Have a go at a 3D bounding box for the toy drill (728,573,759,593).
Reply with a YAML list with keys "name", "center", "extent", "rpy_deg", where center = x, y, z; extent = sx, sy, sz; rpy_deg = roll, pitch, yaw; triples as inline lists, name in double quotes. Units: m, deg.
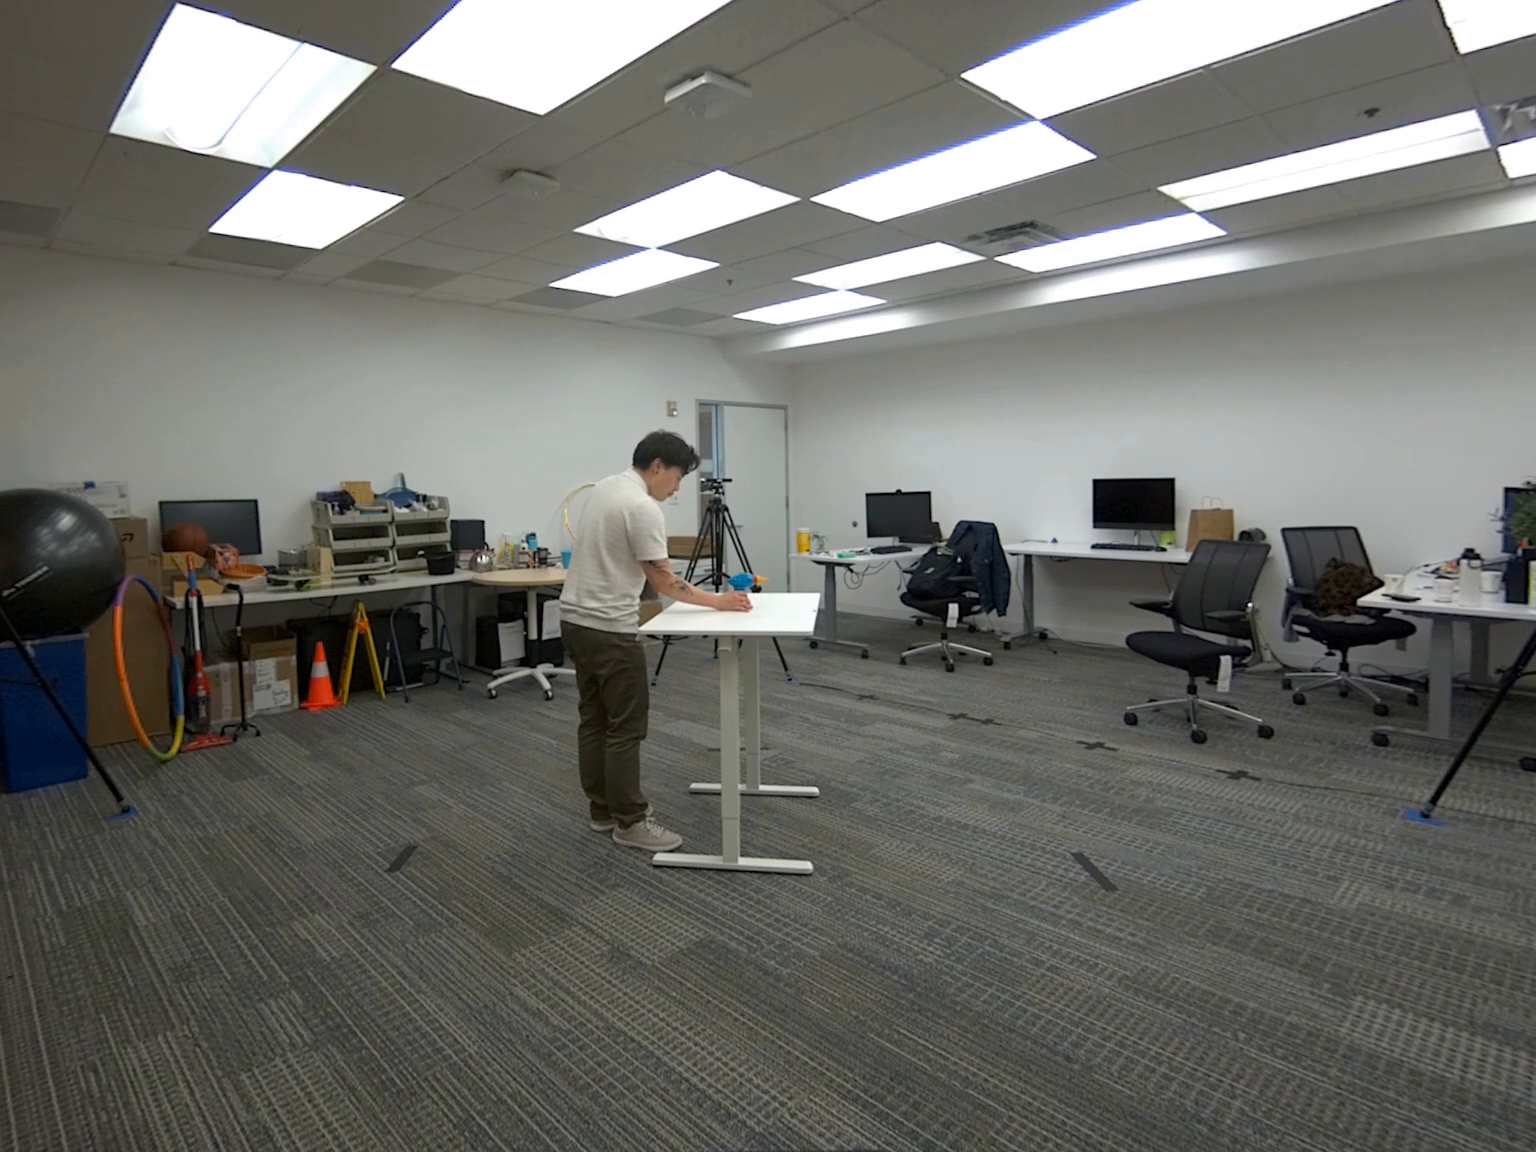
- name: "toy drill"
  center: [-0.080, 0.057, 3.397]
  extent: [0.167, 0.146, 0.062]
  rpy_deg: [-1, 1, -17]
